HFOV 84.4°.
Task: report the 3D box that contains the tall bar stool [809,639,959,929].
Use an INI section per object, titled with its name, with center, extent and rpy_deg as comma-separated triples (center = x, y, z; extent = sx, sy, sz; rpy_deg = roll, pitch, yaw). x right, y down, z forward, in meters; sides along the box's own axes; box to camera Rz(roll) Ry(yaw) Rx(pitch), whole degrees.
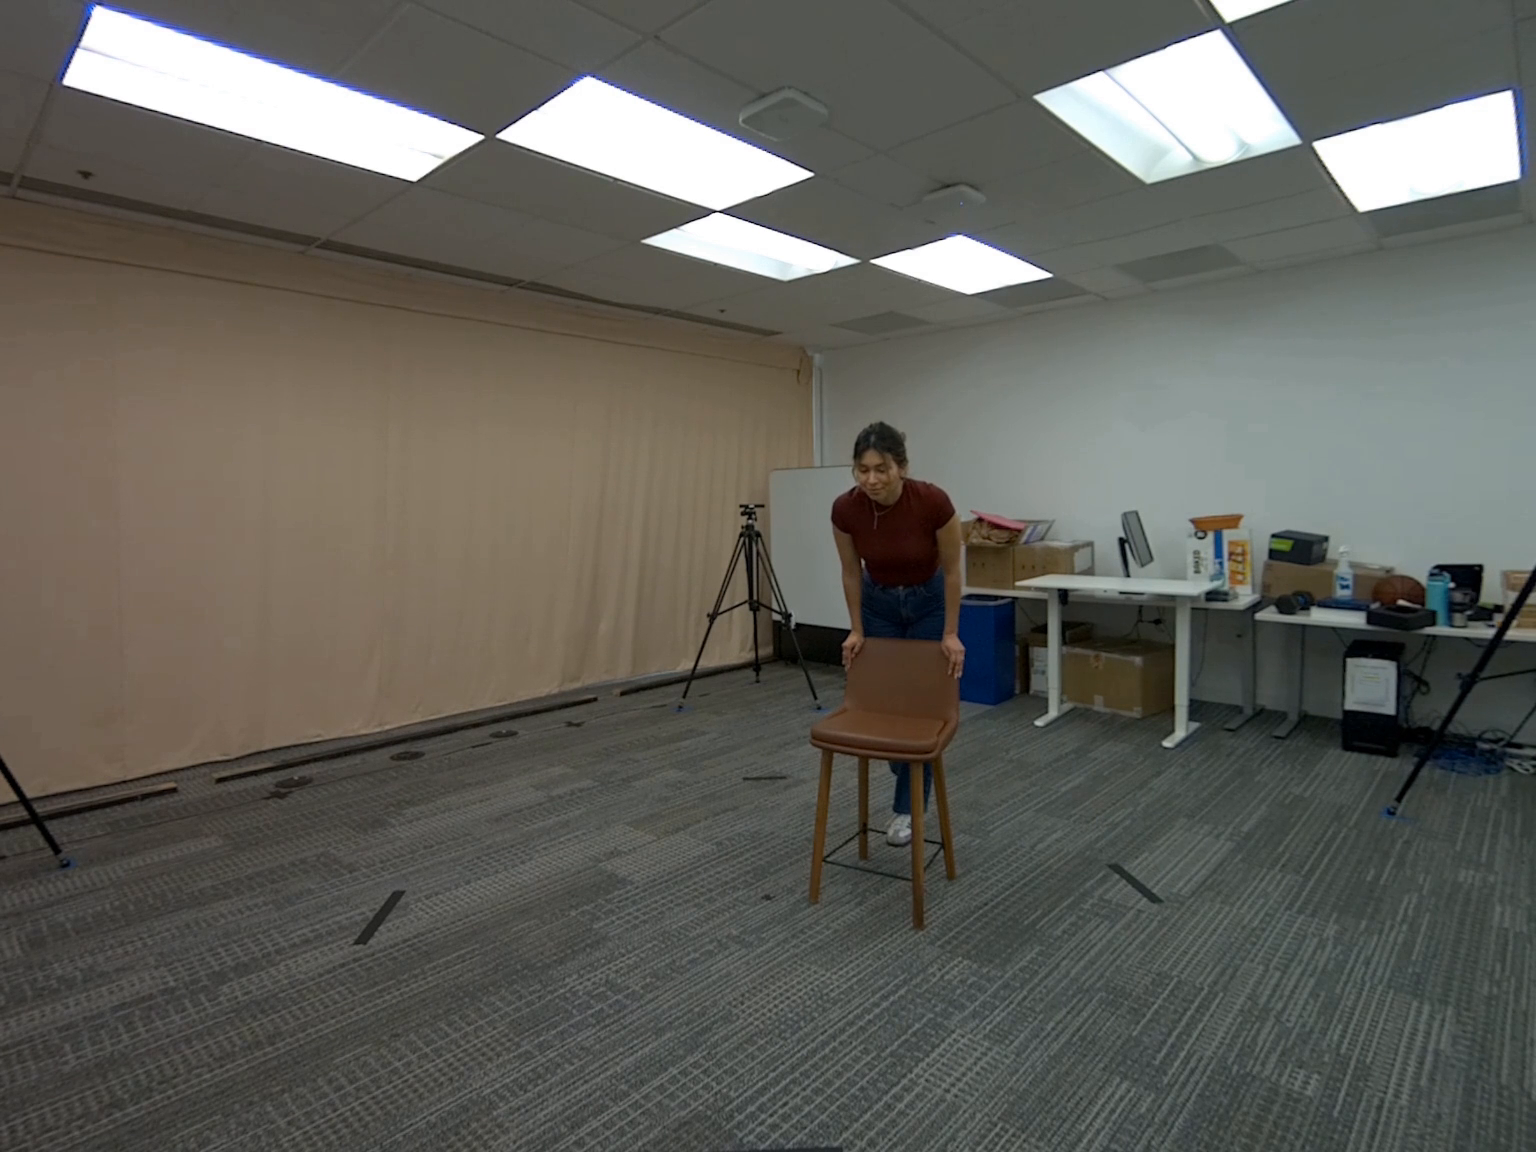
[tall bar stool]
center = 0.427, 0.691, 3.008
extent = 0.470, 0.889, 0.454
rpy_deg = 2, 2, 31
